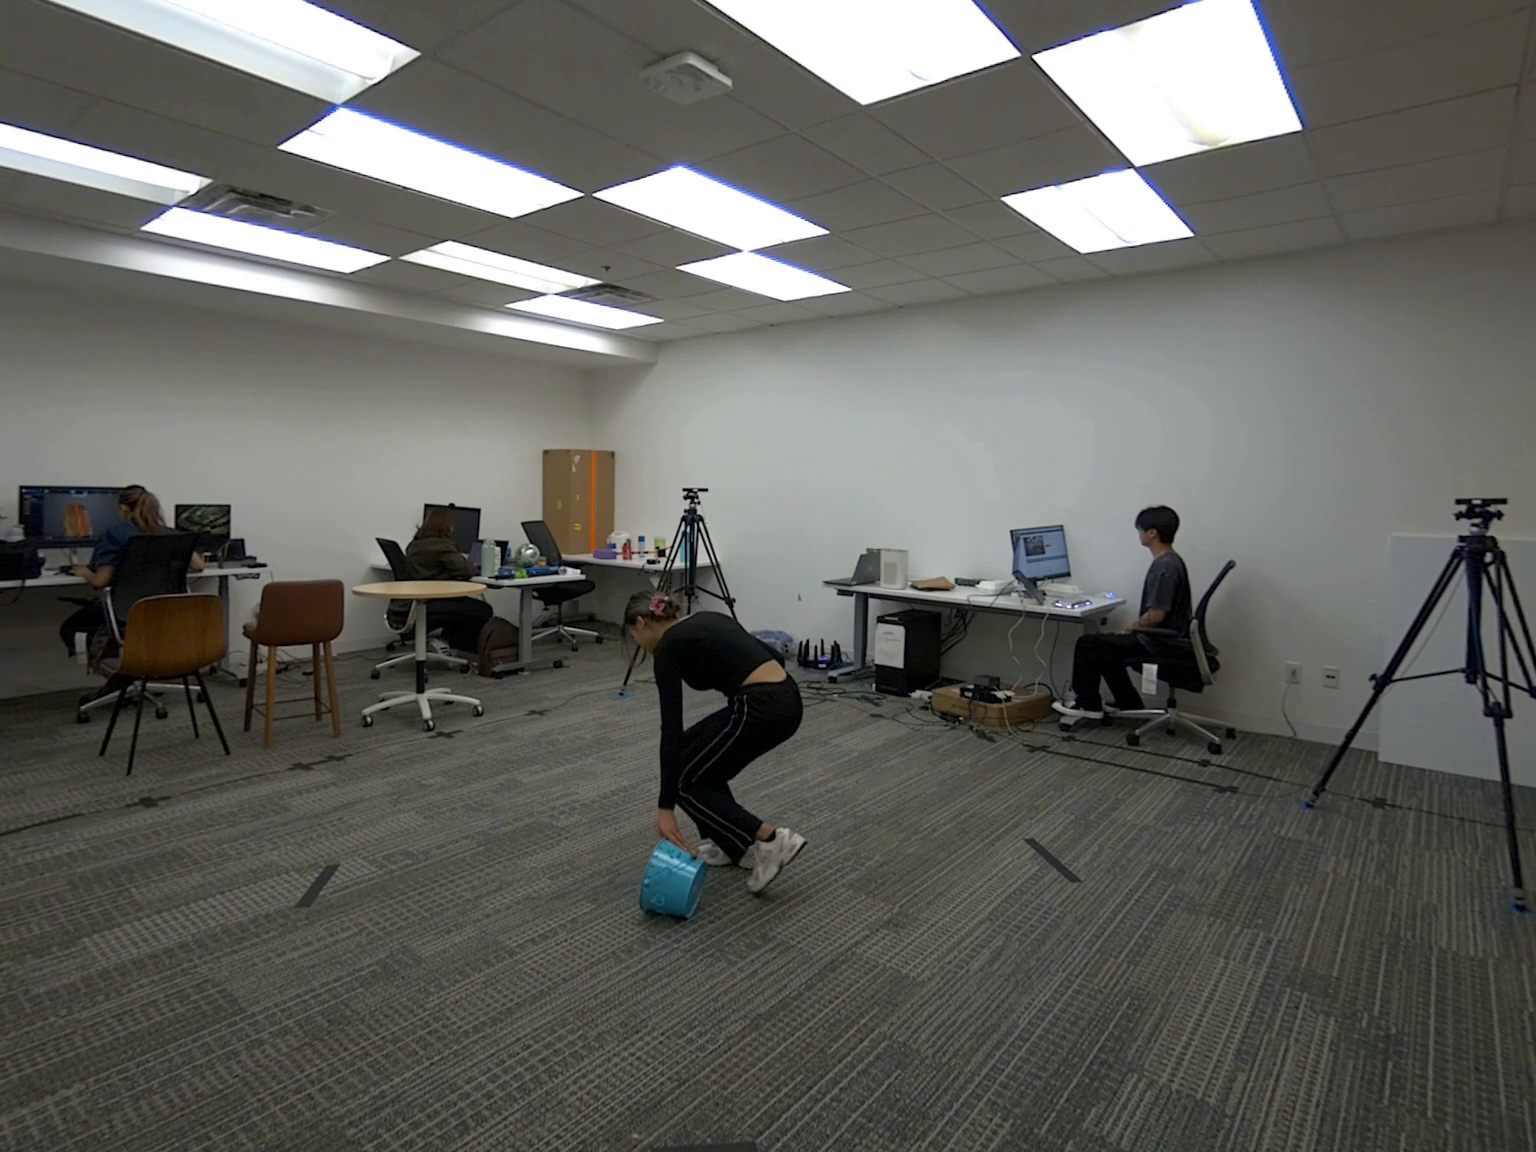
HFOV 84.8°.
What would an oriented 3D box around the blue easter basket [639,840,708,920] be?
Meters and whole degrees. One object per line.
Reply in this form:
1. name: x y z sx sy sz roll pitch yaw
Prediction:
1. blue easter basket: -0.311 0.991 2.782 0.159 0.242 0.239 11 7 16
